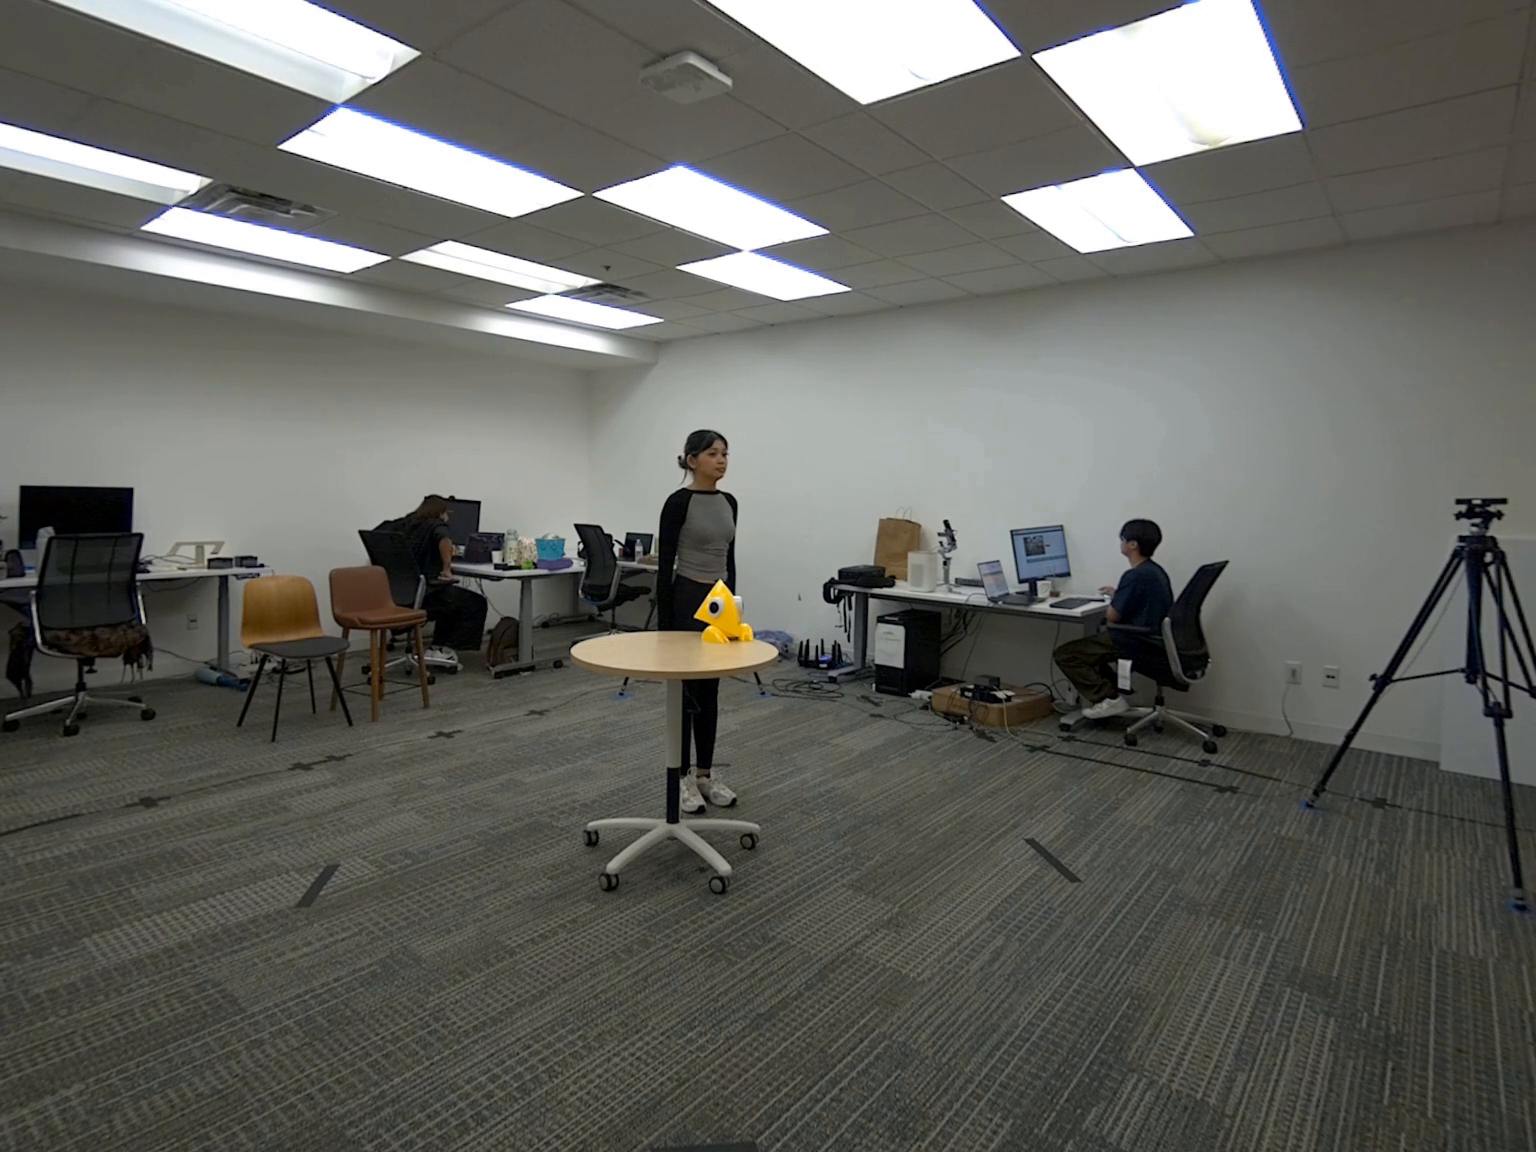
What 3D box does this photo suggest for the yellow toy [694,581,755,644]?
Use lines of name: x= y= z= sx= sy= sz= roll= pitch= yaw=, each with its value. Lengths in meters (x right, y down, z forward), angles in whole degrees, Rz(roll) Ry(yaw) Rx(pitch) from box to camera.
yellow toy: x=-0.177 y=0.130 z=3.389 sx=0.199 sy=0.230 sz=0.199 roll=-2 pitch=6 yaw=-30
